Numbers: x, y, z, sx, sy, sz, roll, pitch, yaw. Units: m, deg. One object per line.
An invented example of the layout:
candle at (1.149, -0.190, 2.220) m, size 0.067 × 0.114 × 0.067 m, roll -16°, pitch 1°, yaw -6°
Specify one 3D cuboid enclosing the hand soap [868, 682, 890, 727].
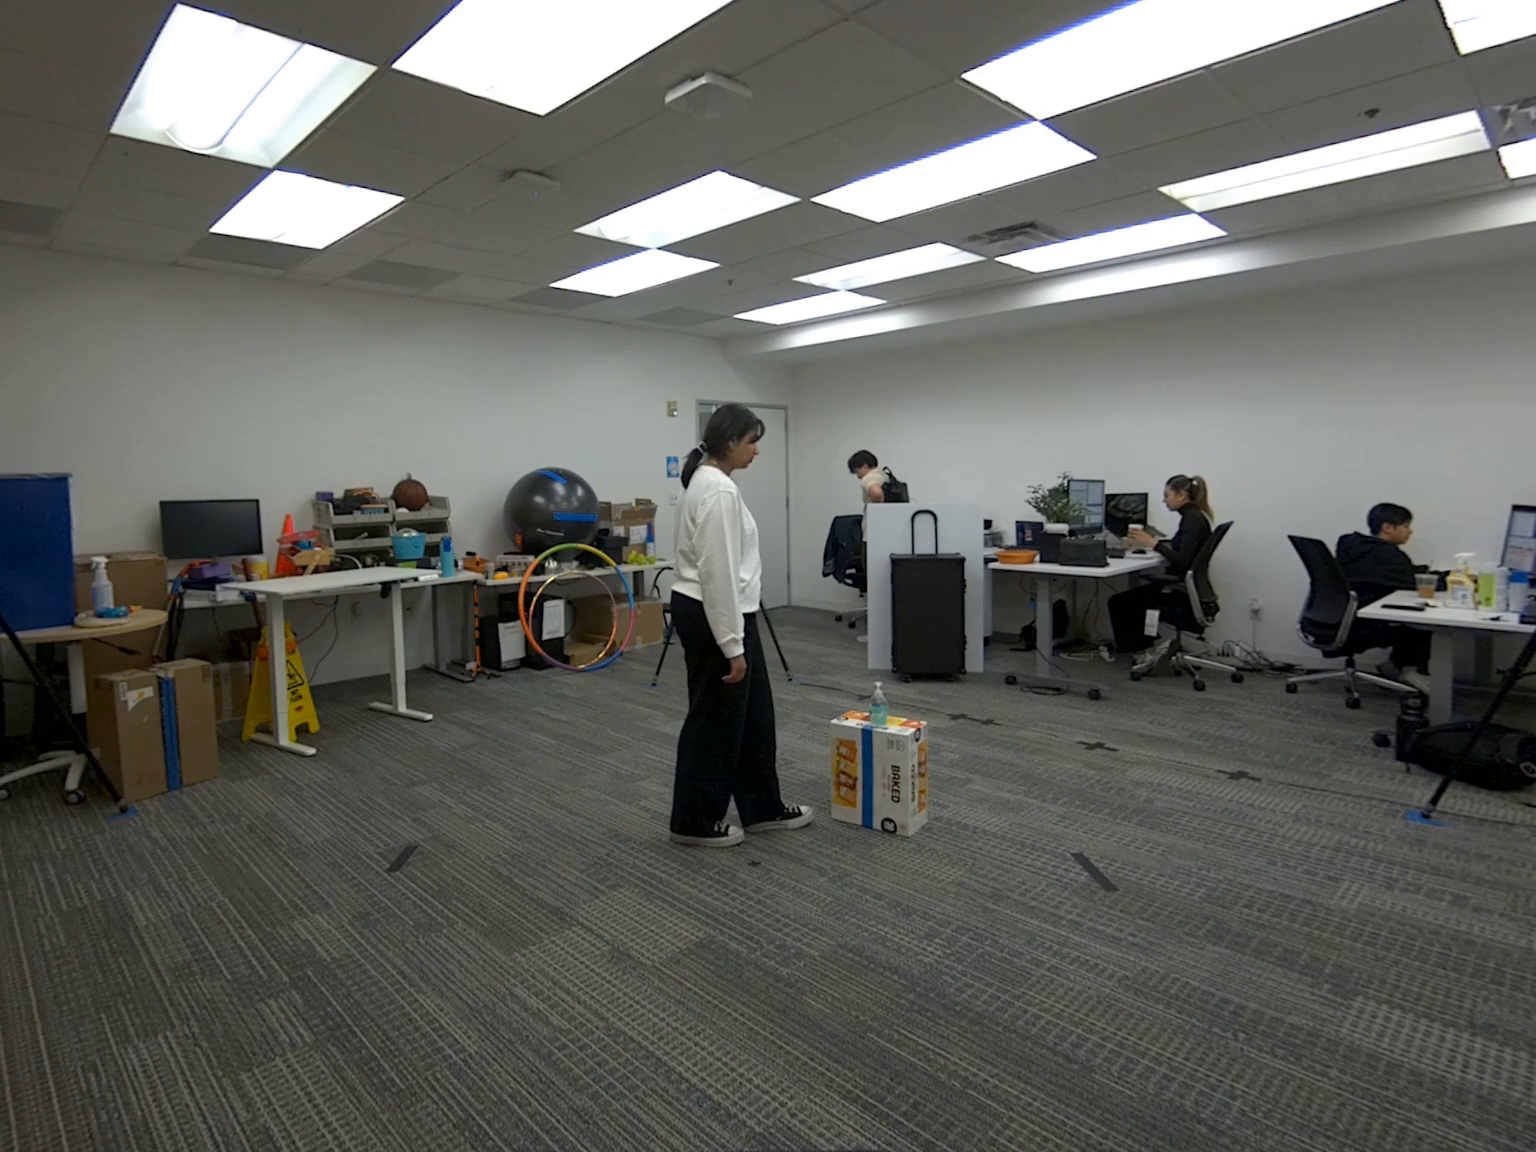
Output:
hand soap at (0.439, 0.511, 3.439) m, size 0.086 × 0.168 × 0.042 m, roll -2°, pitch -3°, yaw 26°
